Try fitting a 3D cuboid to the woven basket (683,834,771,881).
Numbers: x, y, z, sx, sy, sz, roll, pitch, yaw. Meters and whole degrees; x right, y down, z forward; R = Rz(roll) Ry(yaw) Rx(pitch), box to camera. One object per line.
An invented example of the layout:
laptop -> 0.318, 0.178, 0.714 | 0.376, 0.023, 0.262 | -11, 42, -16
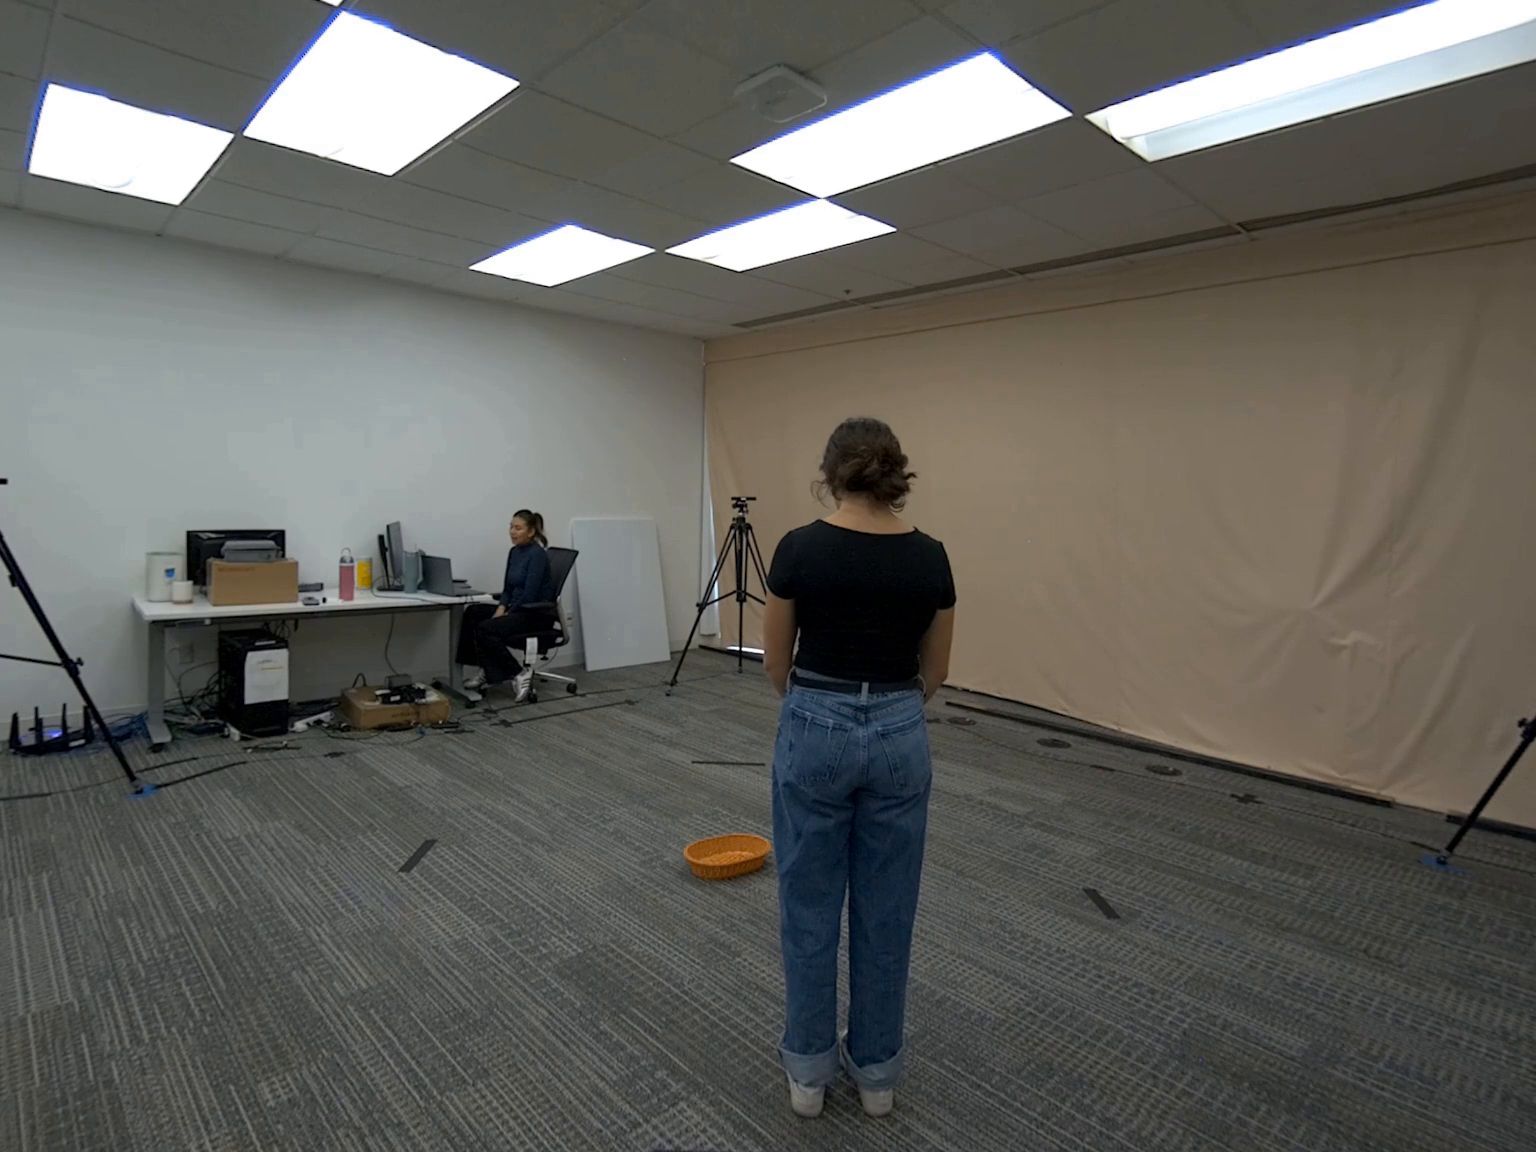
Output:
woven basket -> -0.159, 1.061, 3.181 | 0.343, 0.073, 0.258 | -2, 5, -30
